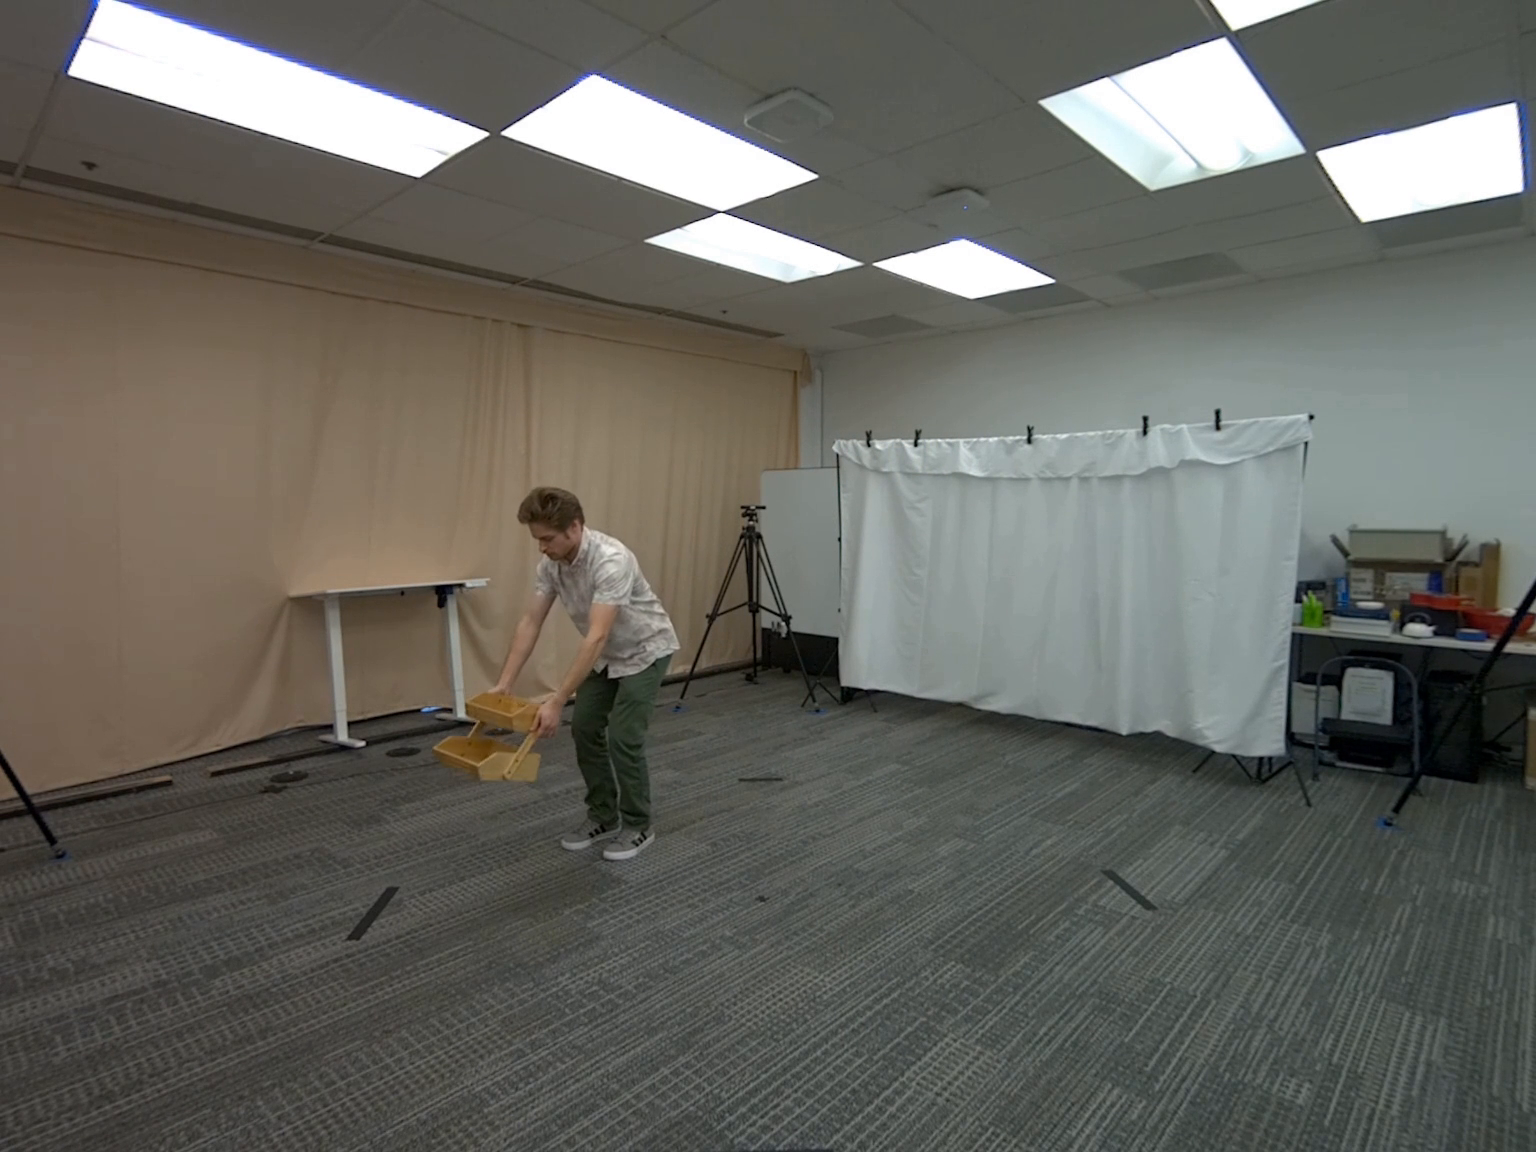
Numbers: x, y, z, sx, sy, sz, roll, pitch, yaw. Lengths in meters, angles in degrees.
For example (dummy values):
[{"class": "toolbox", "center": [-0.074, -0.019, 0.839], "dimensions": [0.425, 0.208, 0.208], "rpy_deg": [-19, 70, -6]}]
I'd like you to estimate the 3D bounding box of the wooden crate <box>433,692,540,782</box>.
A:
[{"class": "wooden crate", "center": [-0.980, 0.568, 3.031], "dimensions": [0.335, 0.274, 0.291], "rpy_deg": [4, -9, 38]}]
